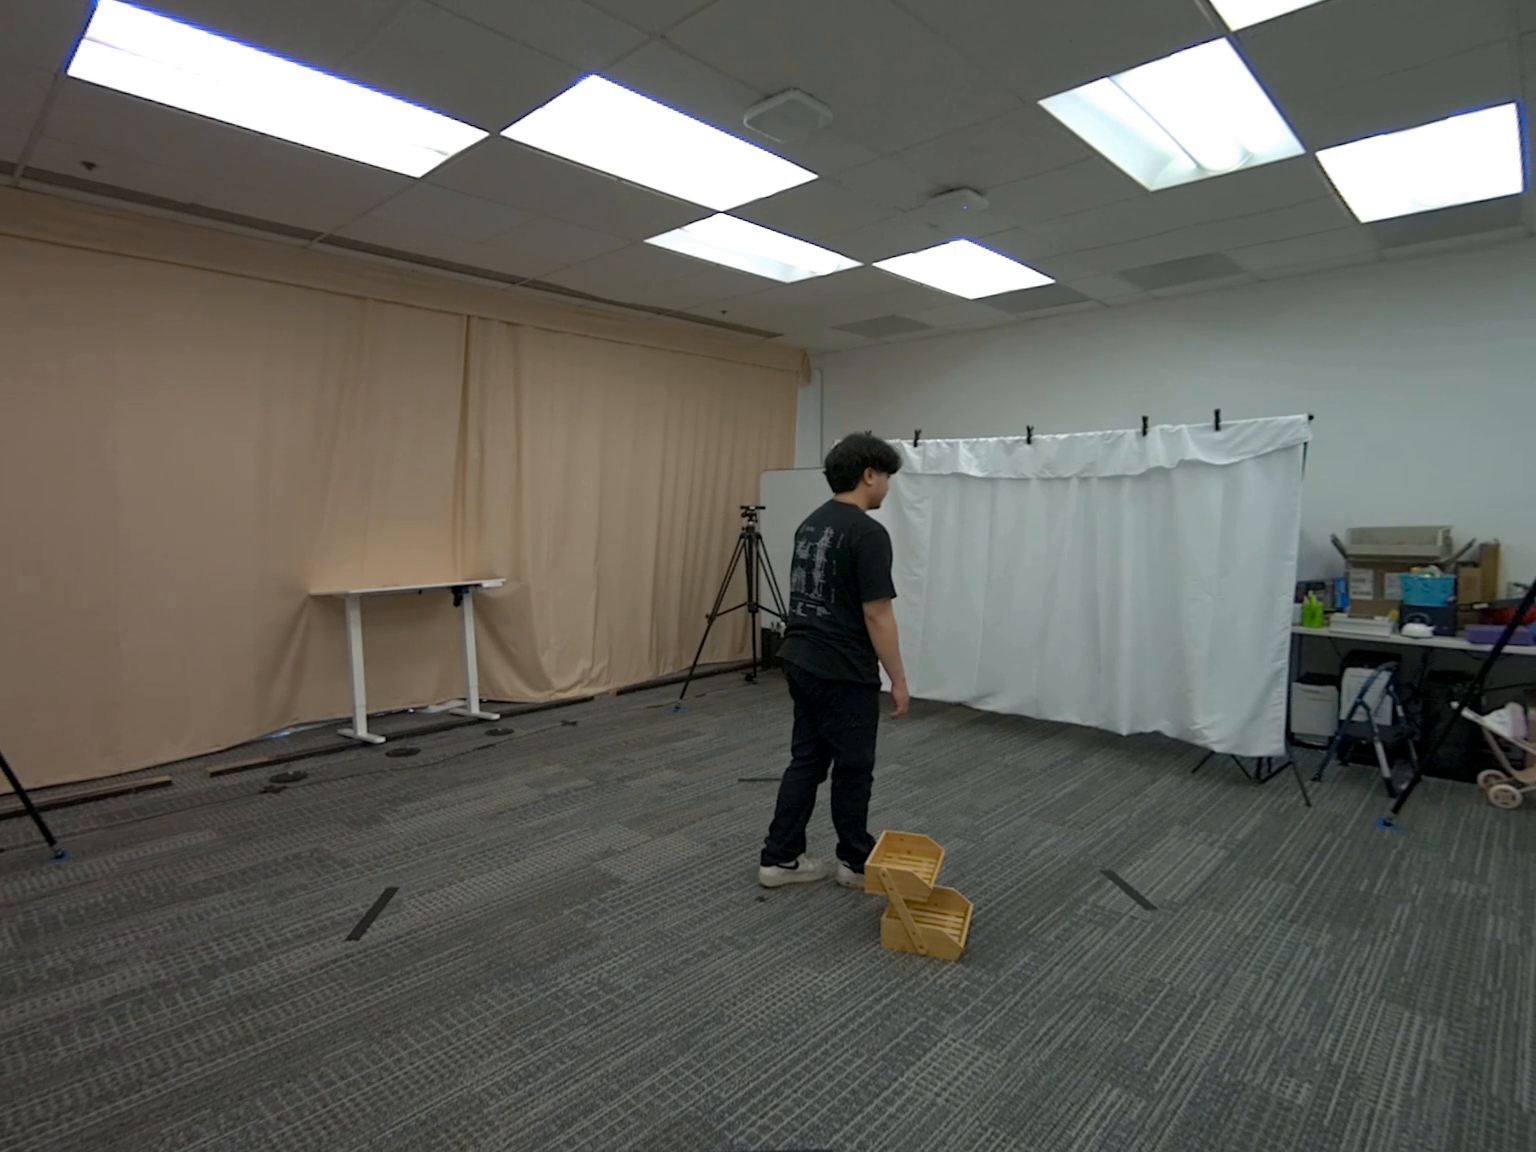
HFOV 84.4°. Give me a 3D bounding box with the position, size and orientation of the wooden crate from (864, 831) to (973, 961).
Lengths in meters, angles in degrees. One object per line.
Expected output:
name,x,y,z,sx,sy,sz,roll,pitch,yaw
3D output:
wooden crate,0.514,1.033,2.744,0.308,0.272,0.318,1,4,20
